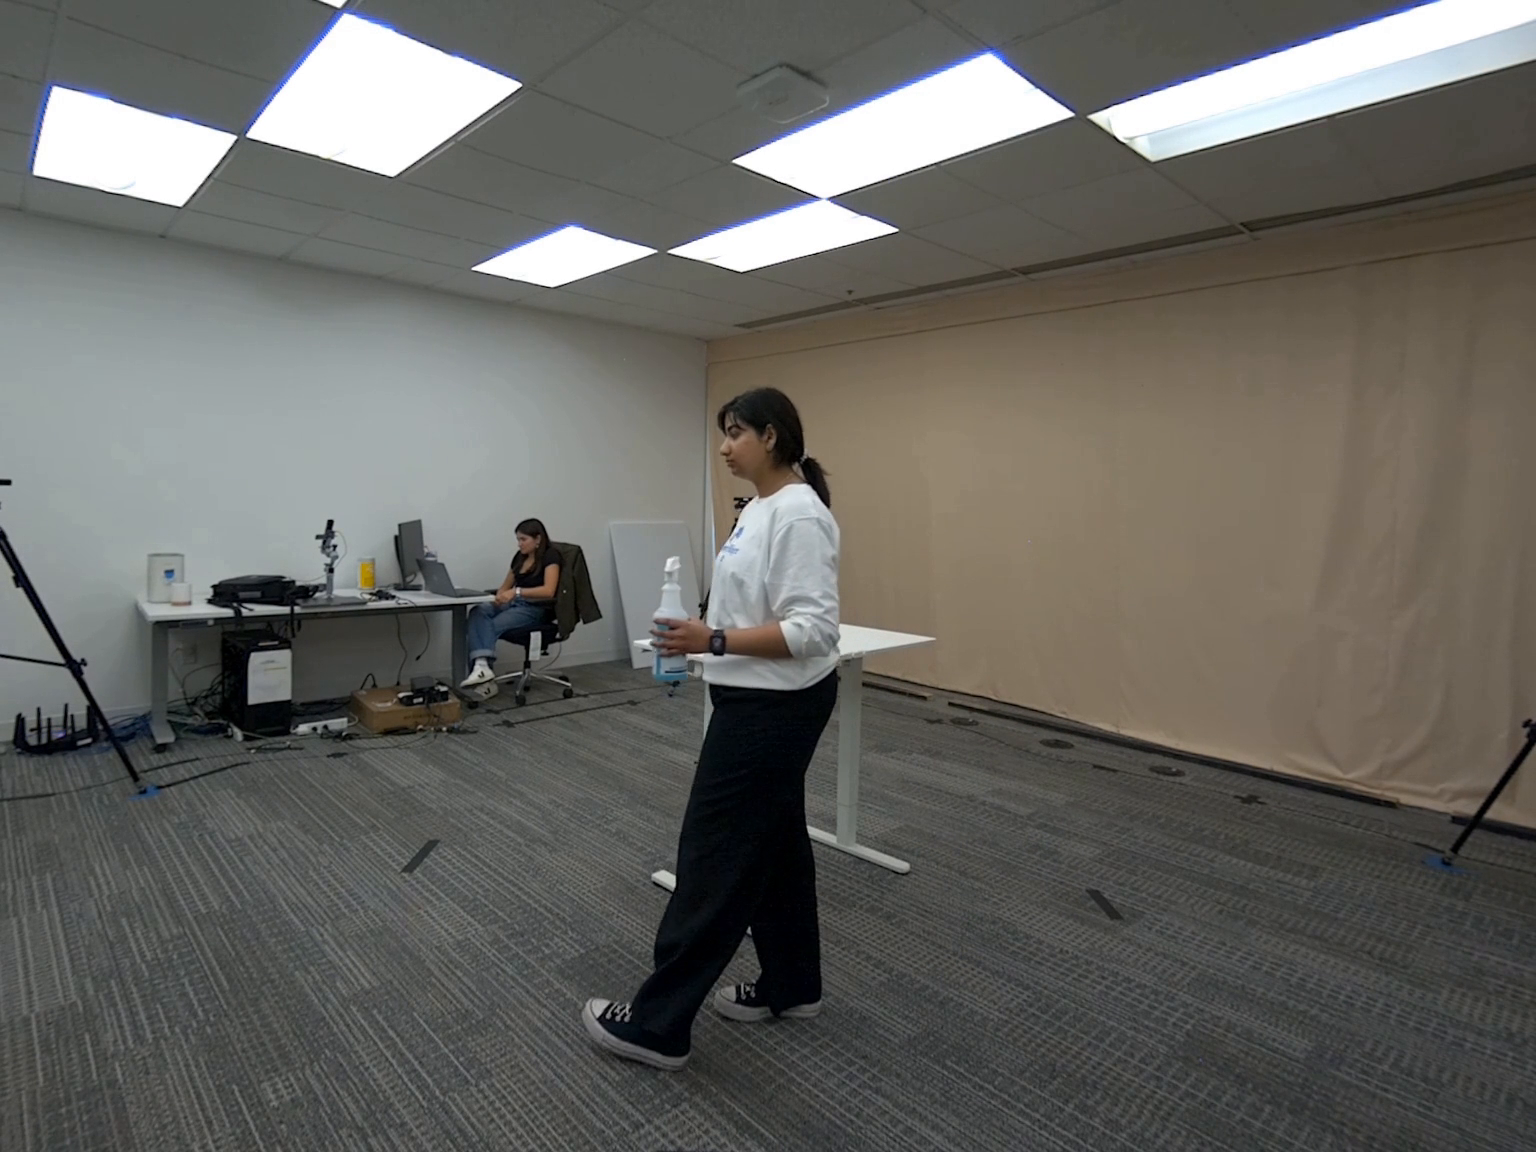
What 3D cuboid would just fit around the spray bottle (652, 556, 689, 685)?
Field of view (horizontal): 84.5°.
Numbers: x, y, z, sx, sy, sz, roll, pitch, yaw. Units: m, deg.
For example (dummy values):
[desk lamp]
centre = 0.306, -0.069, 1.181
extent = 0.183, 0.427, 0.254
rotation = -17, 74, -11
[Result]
[spray bottle]
centre = -0.240, 0.106, 2.059
extent = 0.089, 0.297, 0.088
rotation = 4, 3, 36
